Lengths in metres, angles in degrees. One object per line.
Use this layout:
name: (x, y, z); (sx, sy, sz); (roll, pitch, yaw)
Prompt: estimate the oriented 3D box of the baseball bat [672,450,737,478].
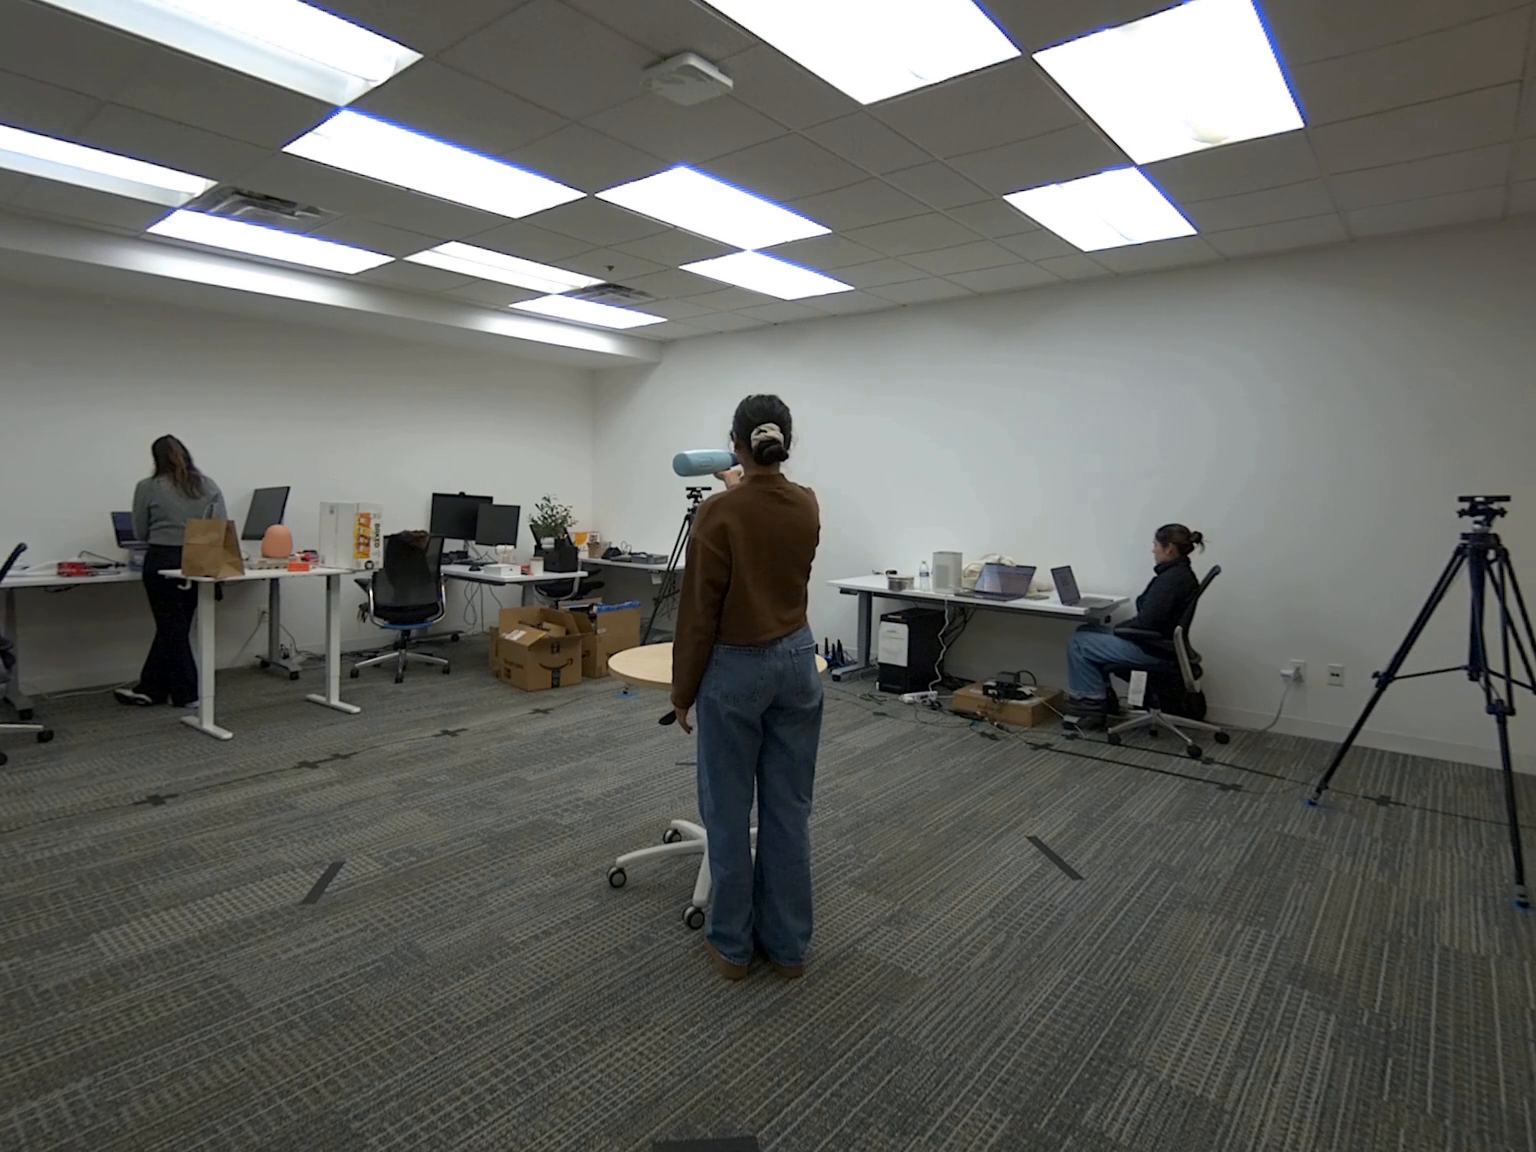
baseball bat: (-0.150, -0.416, 3.047); (0.092, 0.088, 0.530); (4, 12, 35)
